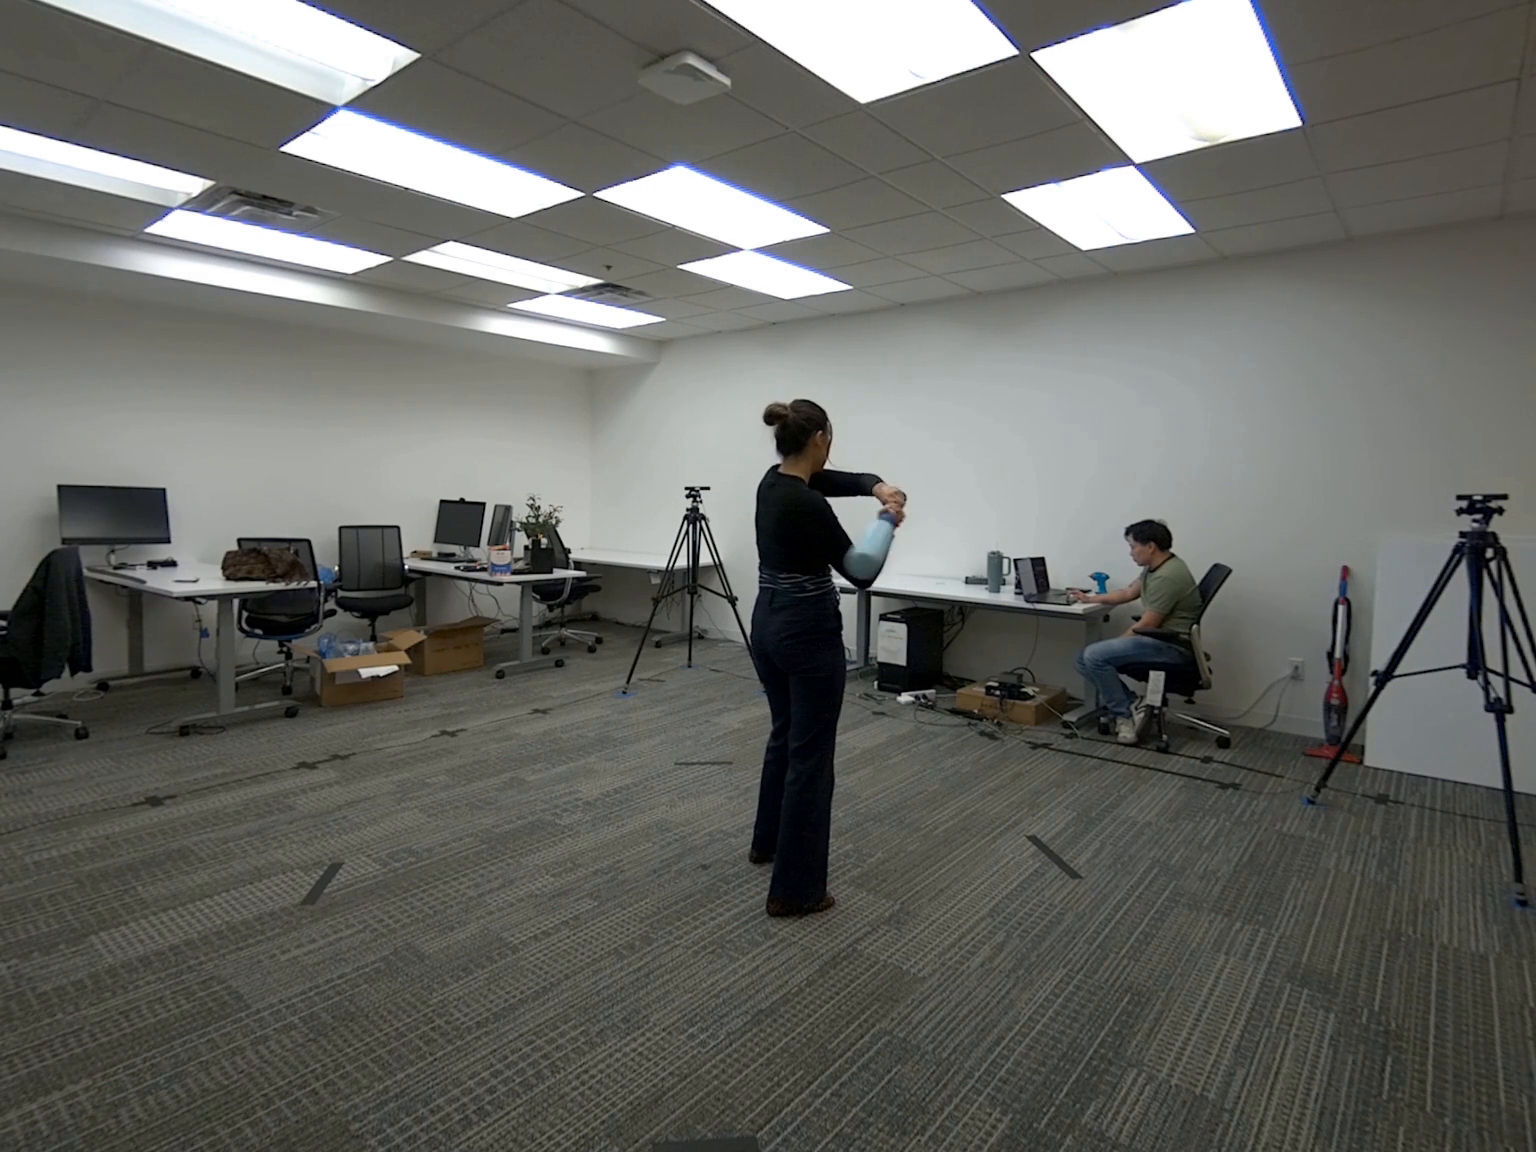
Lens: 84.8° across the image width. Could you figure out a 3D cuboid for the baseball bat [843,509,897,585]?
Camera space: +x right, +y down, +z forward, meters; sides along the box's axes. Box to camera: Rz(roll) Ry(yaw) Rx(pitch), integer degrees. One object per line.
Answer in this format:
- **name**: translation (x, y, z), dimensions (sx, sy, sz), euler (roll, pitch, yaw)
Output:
- **baseball bat**: translation (0.337, -0.157, 2.546), dimensions (0.091, 0.087, 0.542), euler (2, 26, 23)
